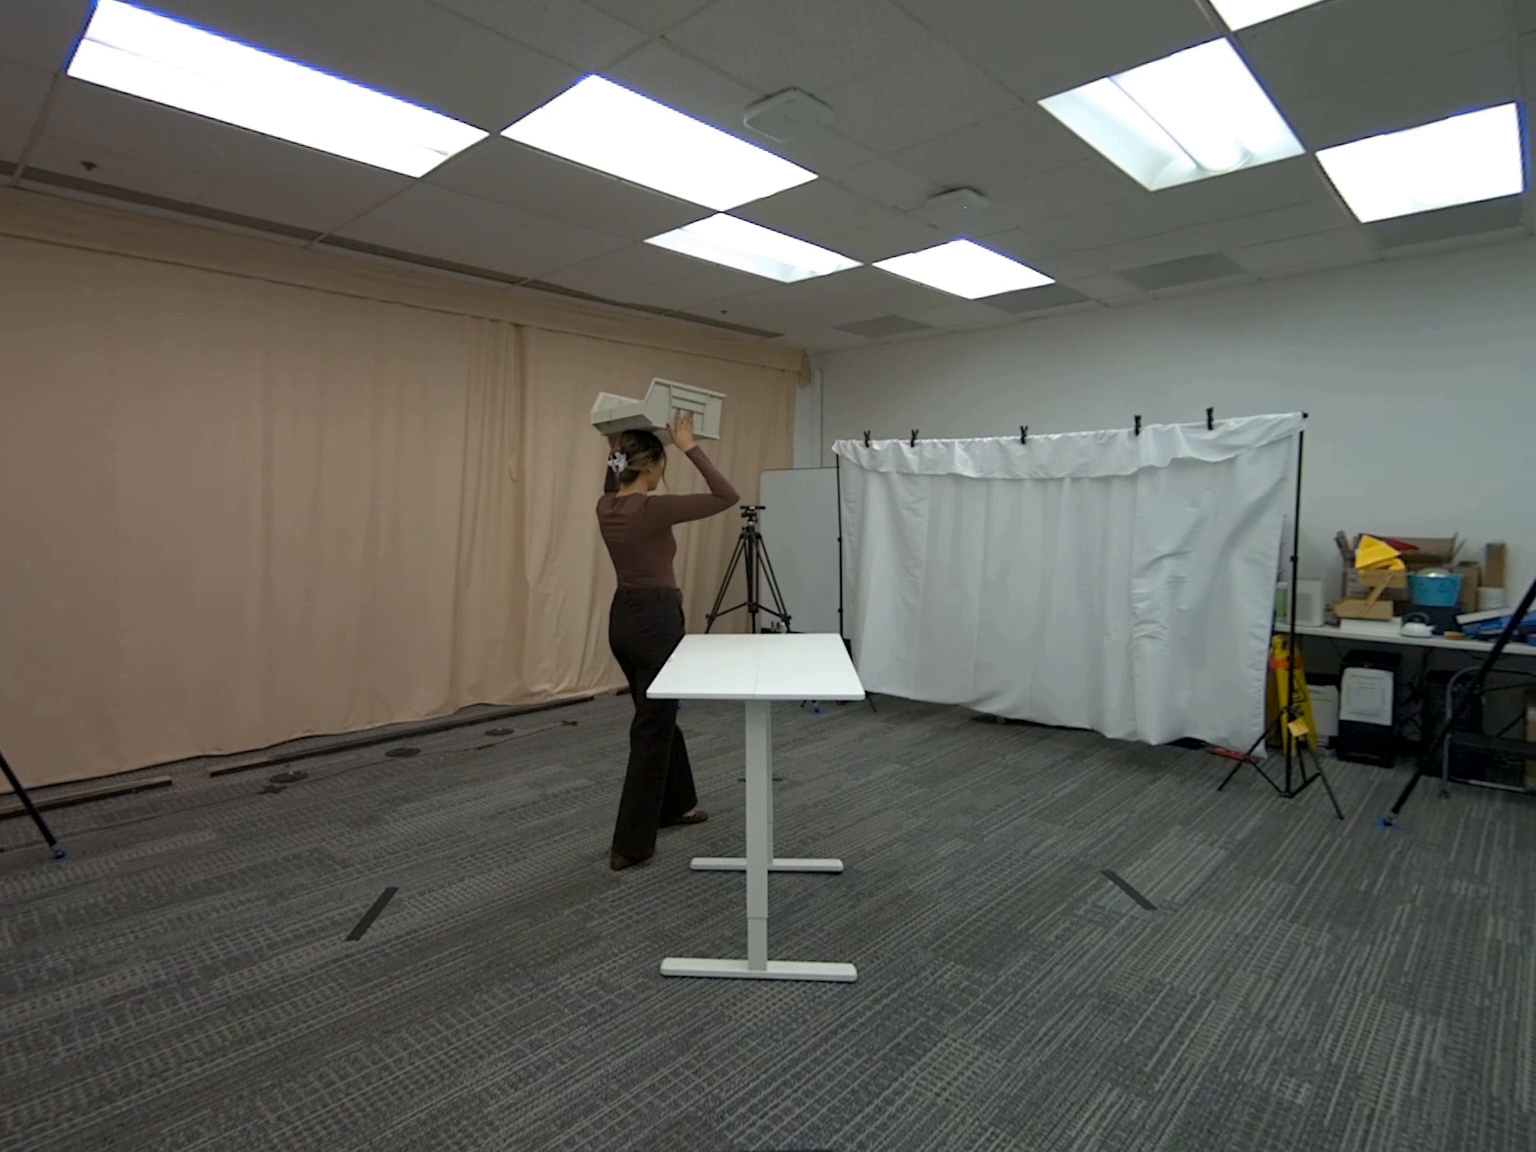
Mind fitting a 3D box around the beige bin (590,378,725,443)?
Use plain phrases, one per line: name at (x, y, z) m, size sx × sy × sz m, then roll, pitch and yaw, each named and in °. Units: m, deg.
beige bin at (-0.447, -0.653, 3.401) m, size 0.365 × 0.189 × 0.436 m, roll 6°, pitch -2°, yaw -38°
